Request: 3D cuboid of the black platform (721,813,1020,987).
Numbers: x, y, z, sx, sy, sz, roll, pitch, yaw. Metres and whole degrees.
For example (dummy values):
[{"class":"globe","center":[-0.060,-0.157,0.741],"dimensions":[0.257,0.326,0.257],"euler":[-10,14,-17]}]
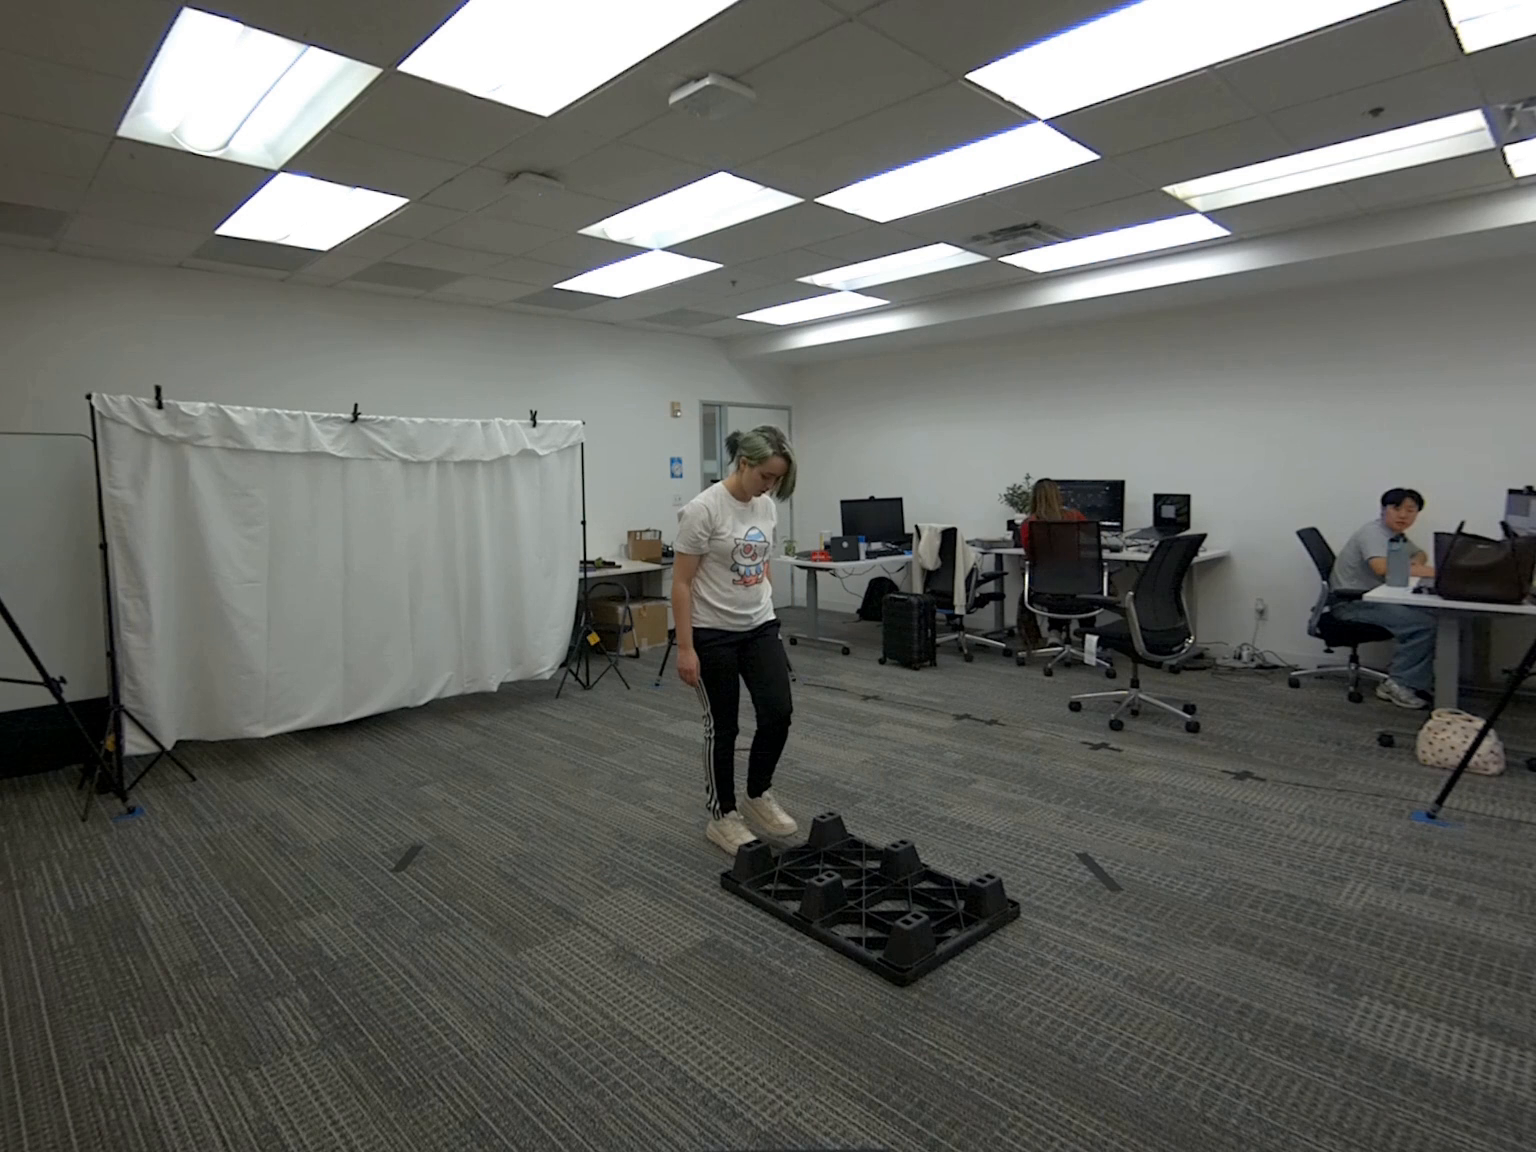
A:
[{"class":"black platform","center":[0.312,1.008,2.822],"dimensions":[0.589,0.143,0.830],"euler":[-6,8,-41]}]
